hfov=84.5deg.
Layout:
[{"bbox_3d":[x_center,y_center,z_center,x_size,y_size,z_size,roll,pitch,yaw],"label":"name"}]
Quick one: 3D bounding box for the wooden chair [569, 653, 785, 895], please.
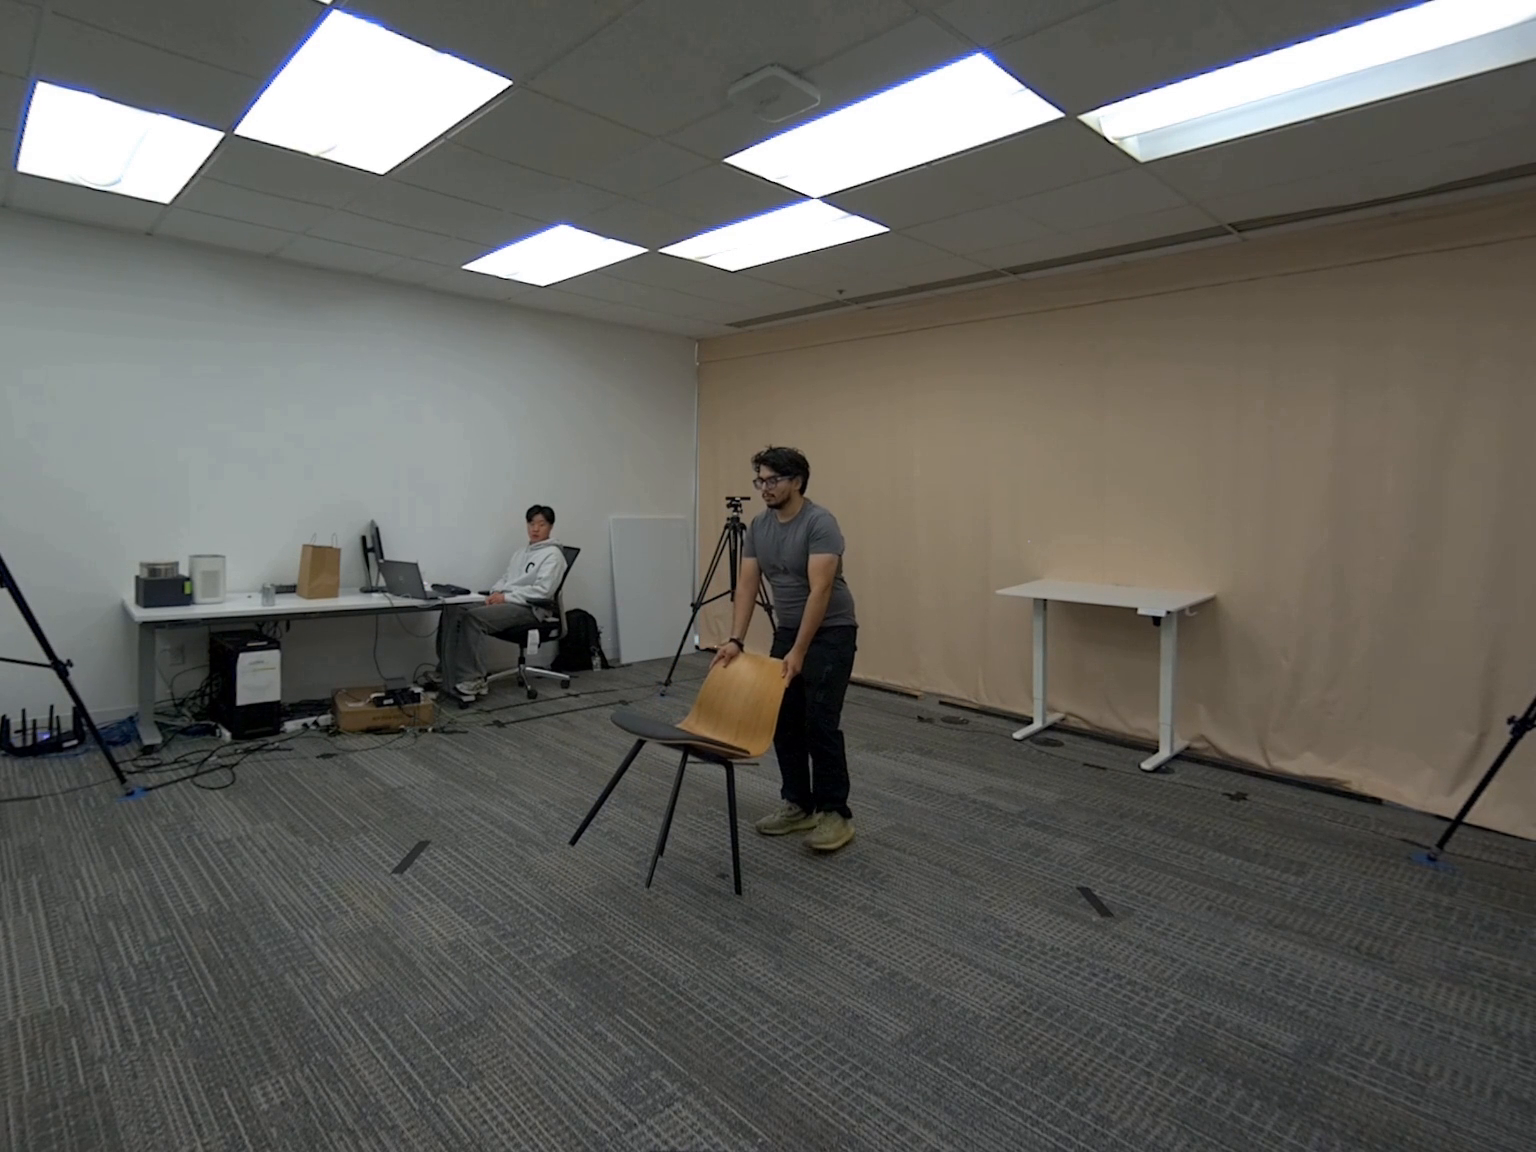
[{"bbox_3d":[-0.295,0.627,3.026,0.490,0.882,0.507,5,-19,45],"label":"wooden chair"}]
